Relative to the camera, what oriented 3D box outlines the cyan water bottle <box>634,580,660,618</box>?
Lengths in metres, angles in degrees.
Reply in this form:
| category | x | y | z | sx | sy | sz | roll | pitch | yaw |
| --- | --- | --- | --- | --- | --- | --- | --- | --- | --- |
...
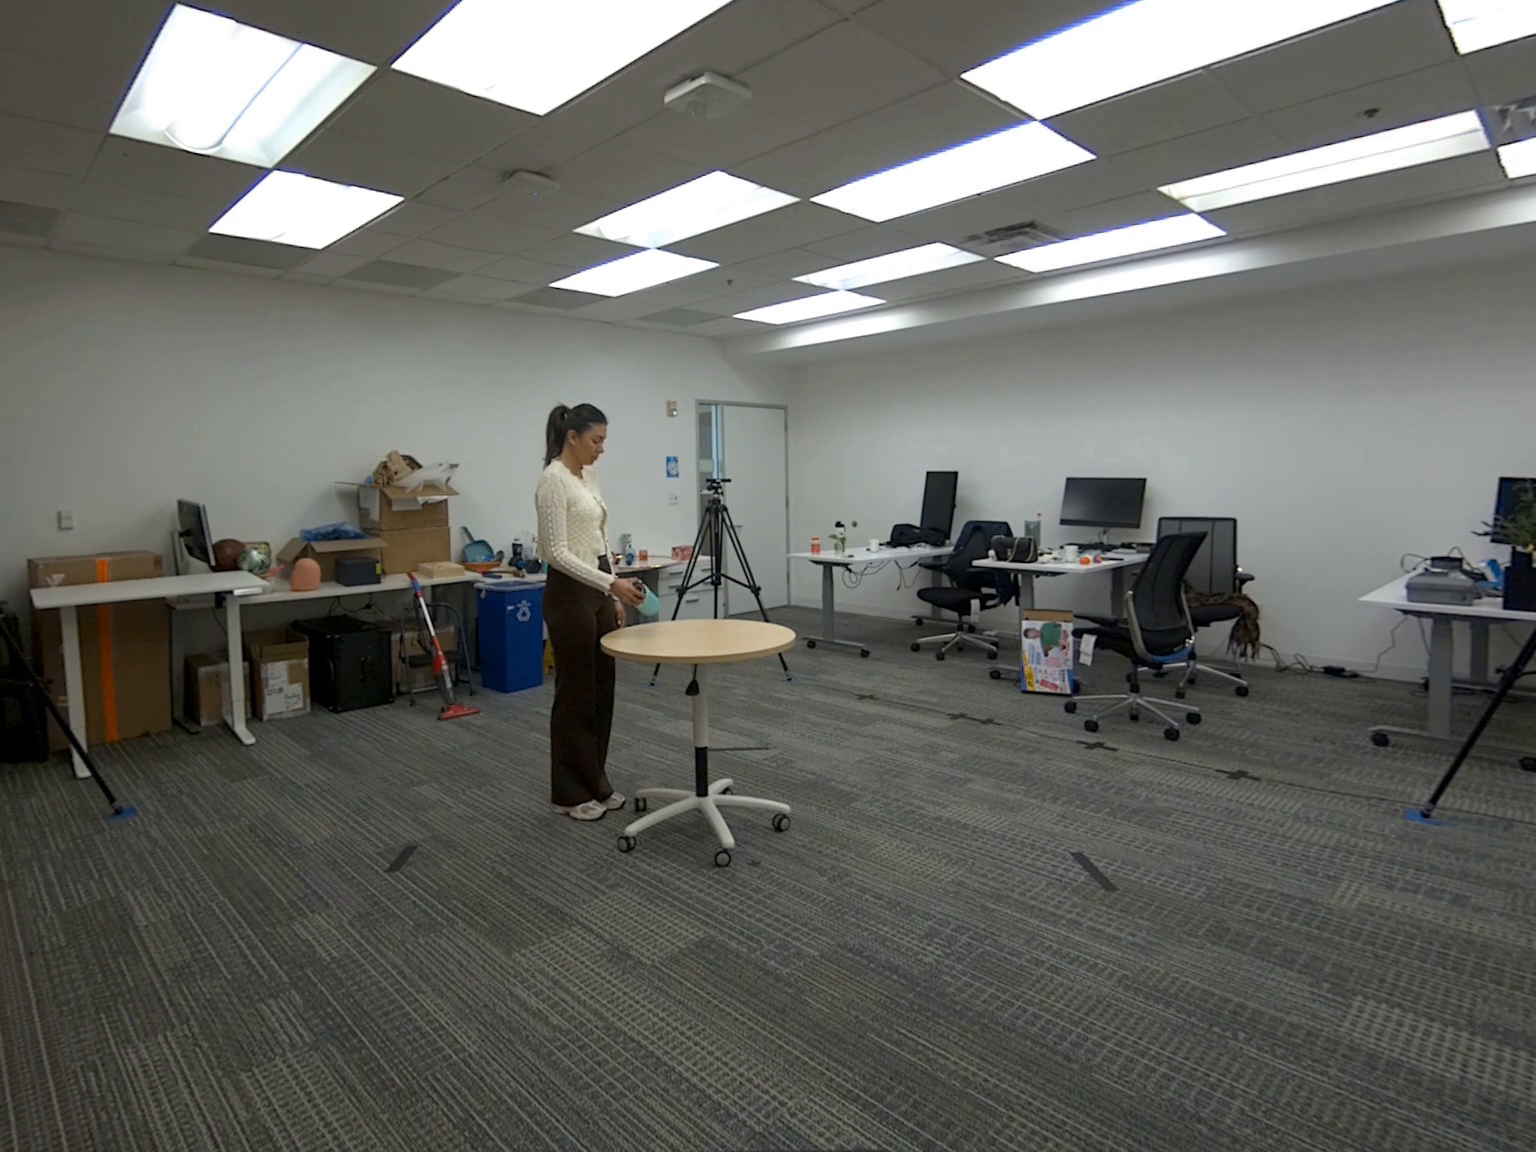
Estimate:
| category | x | y | z | sx | sy | sz | roll | pitch | yaw |
| --- | --- | --- | --- | --- | --- | --- | --- | --- | --- |
| cyan water bottle | -0.516 | 0.094 | 3.466 | 0.093 | 0.093 | 0.277 | 0 | -15 | 9 |
